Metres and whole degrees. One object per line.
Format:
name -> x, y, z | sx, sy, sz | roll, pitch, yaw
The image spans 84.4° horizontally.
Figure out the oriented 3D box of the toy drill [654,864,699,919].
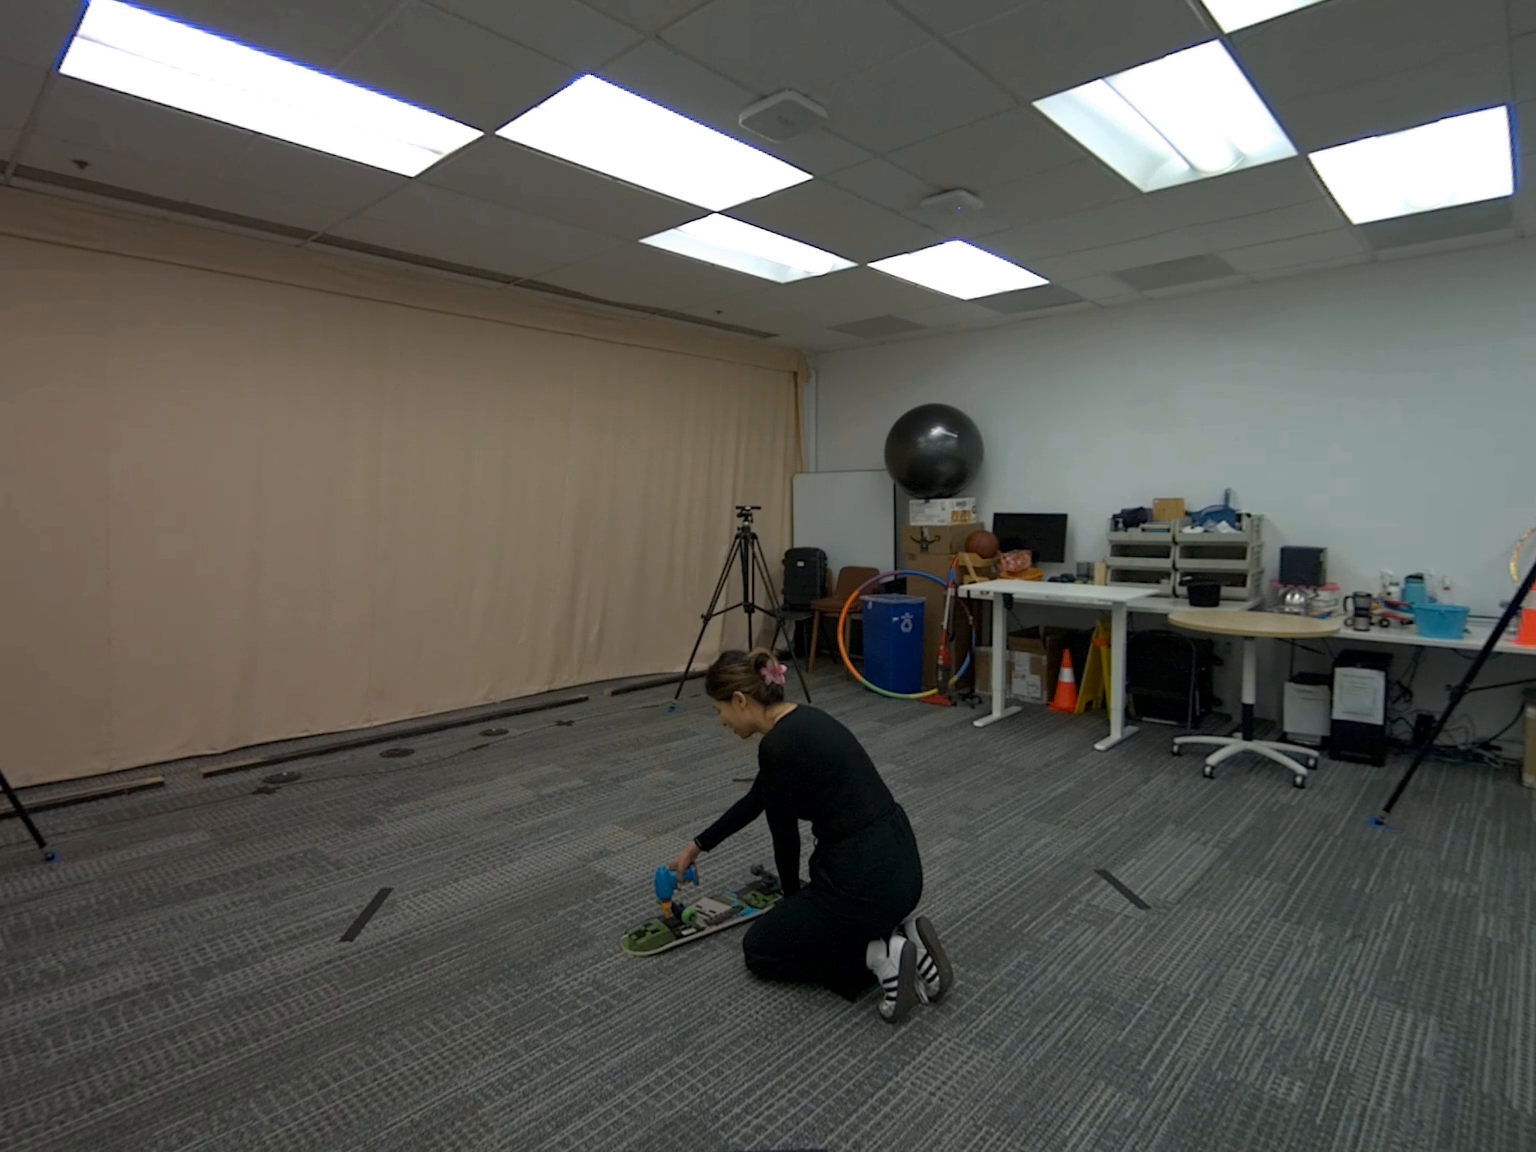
toy drill -> -0.296, 1.033, 2.758 | 0.144, 0.170, 0.062 | -2, -1, -9
